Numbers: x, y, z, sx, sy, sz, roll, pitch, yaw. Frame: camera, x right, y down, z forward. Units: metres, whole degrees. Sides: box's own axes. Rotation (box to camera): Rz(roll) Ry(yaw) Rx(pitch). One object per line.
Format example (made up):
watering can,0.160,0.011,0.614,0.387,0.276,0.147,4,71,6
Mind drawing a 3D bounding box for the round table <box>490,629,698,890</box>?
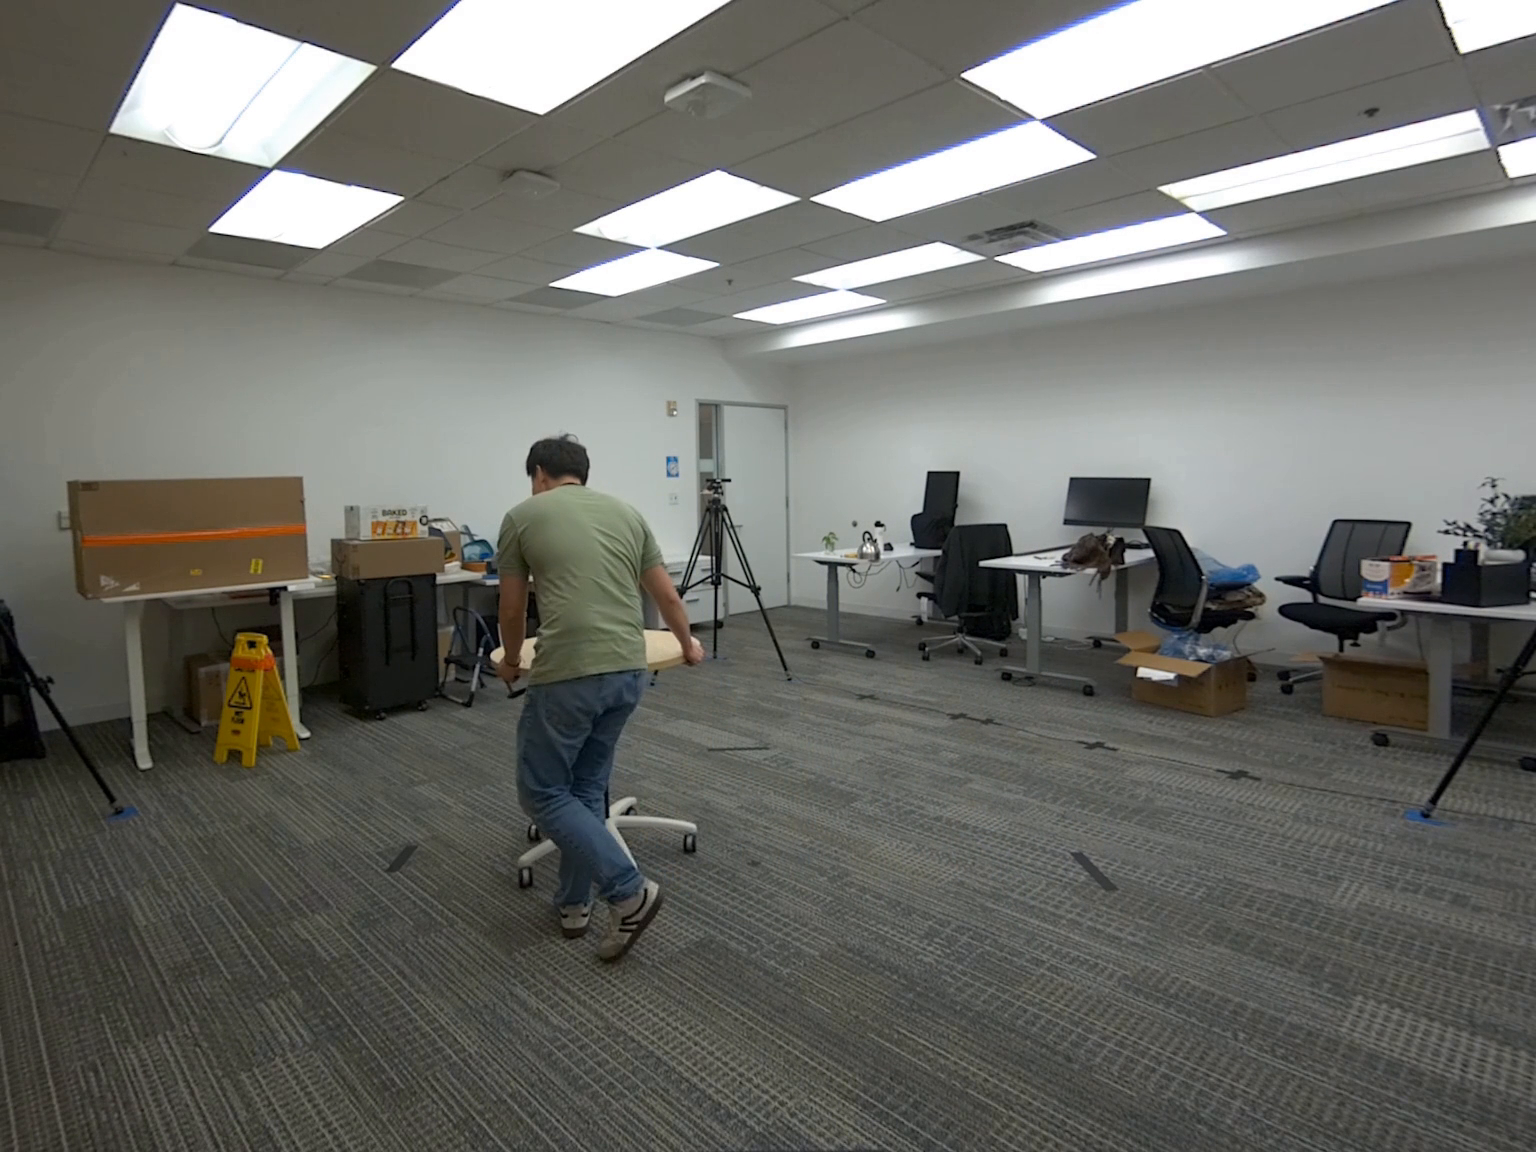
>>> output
round table,-0.616,0.657,3.179,0.763,0.791,0.768,-2,5,-2
